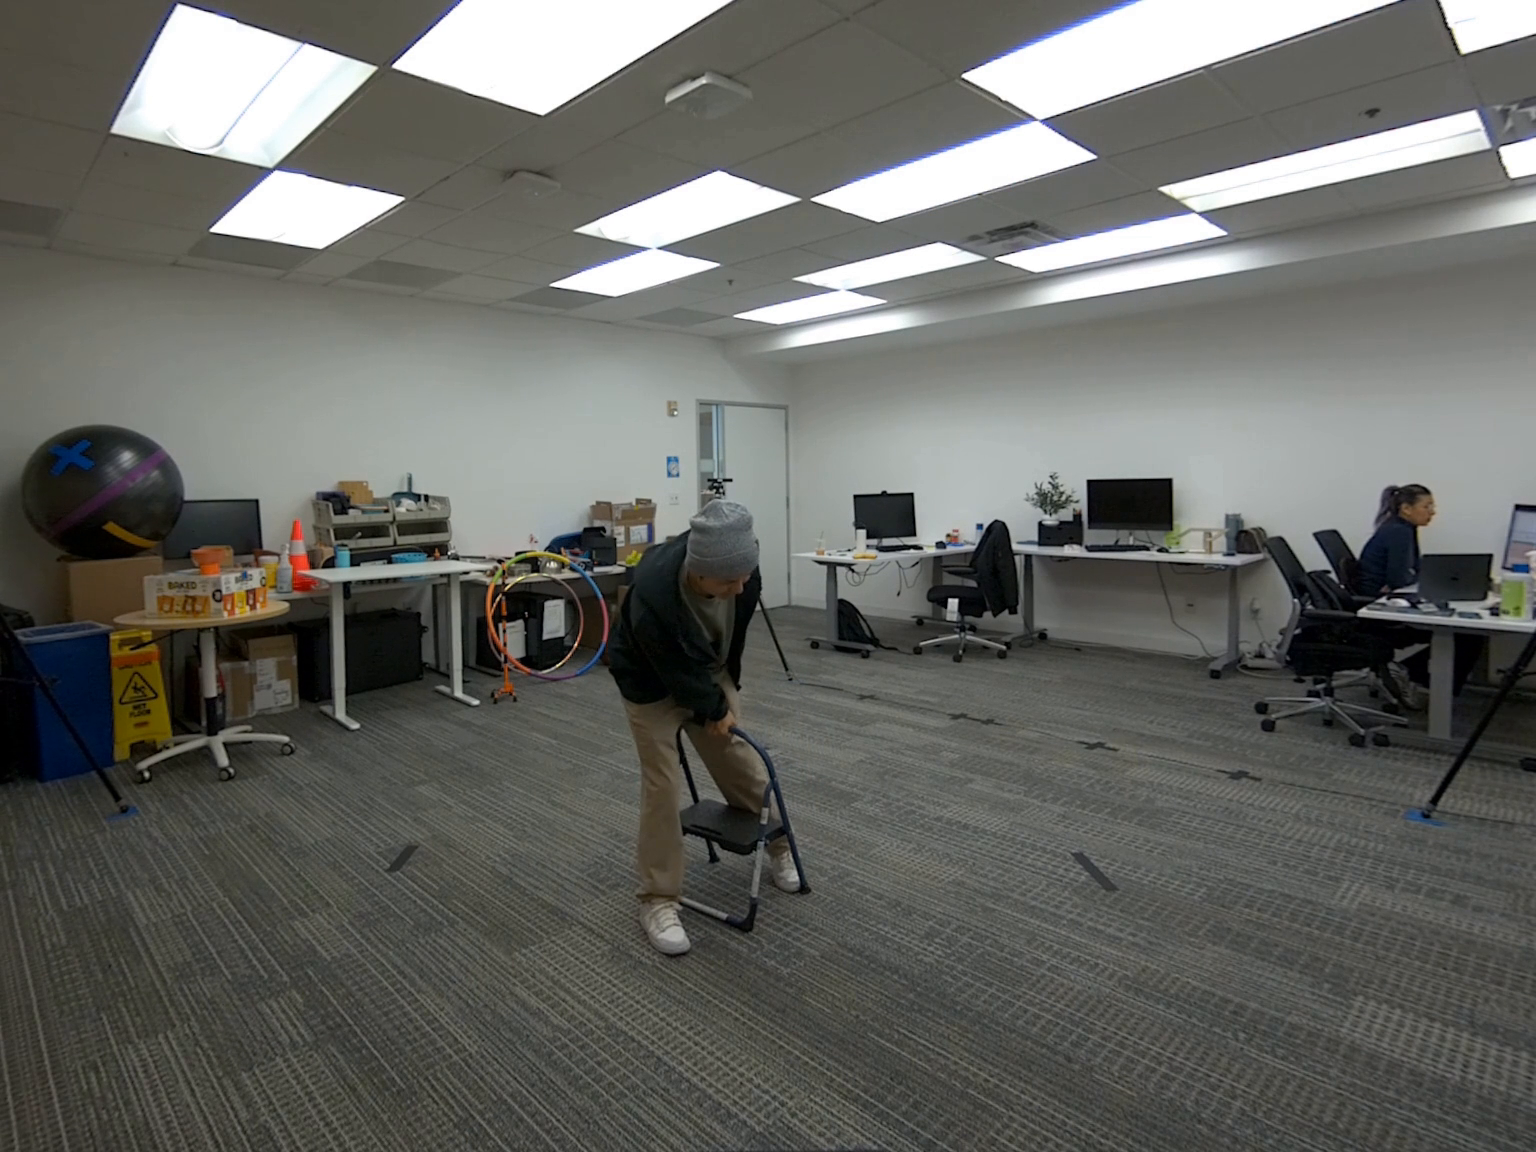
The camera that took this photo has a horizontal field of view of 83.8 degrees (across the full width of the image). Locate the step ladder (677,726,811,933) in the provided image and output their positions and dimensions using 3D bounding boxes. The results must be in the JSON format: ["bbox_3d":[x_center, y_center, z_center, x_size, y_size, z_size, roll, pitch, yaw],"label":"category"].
[{"bbox_3d":[-0.128,0.775,2.870,0.443,0.604,0.340,3,5,36],"label":"step ladder"}]
